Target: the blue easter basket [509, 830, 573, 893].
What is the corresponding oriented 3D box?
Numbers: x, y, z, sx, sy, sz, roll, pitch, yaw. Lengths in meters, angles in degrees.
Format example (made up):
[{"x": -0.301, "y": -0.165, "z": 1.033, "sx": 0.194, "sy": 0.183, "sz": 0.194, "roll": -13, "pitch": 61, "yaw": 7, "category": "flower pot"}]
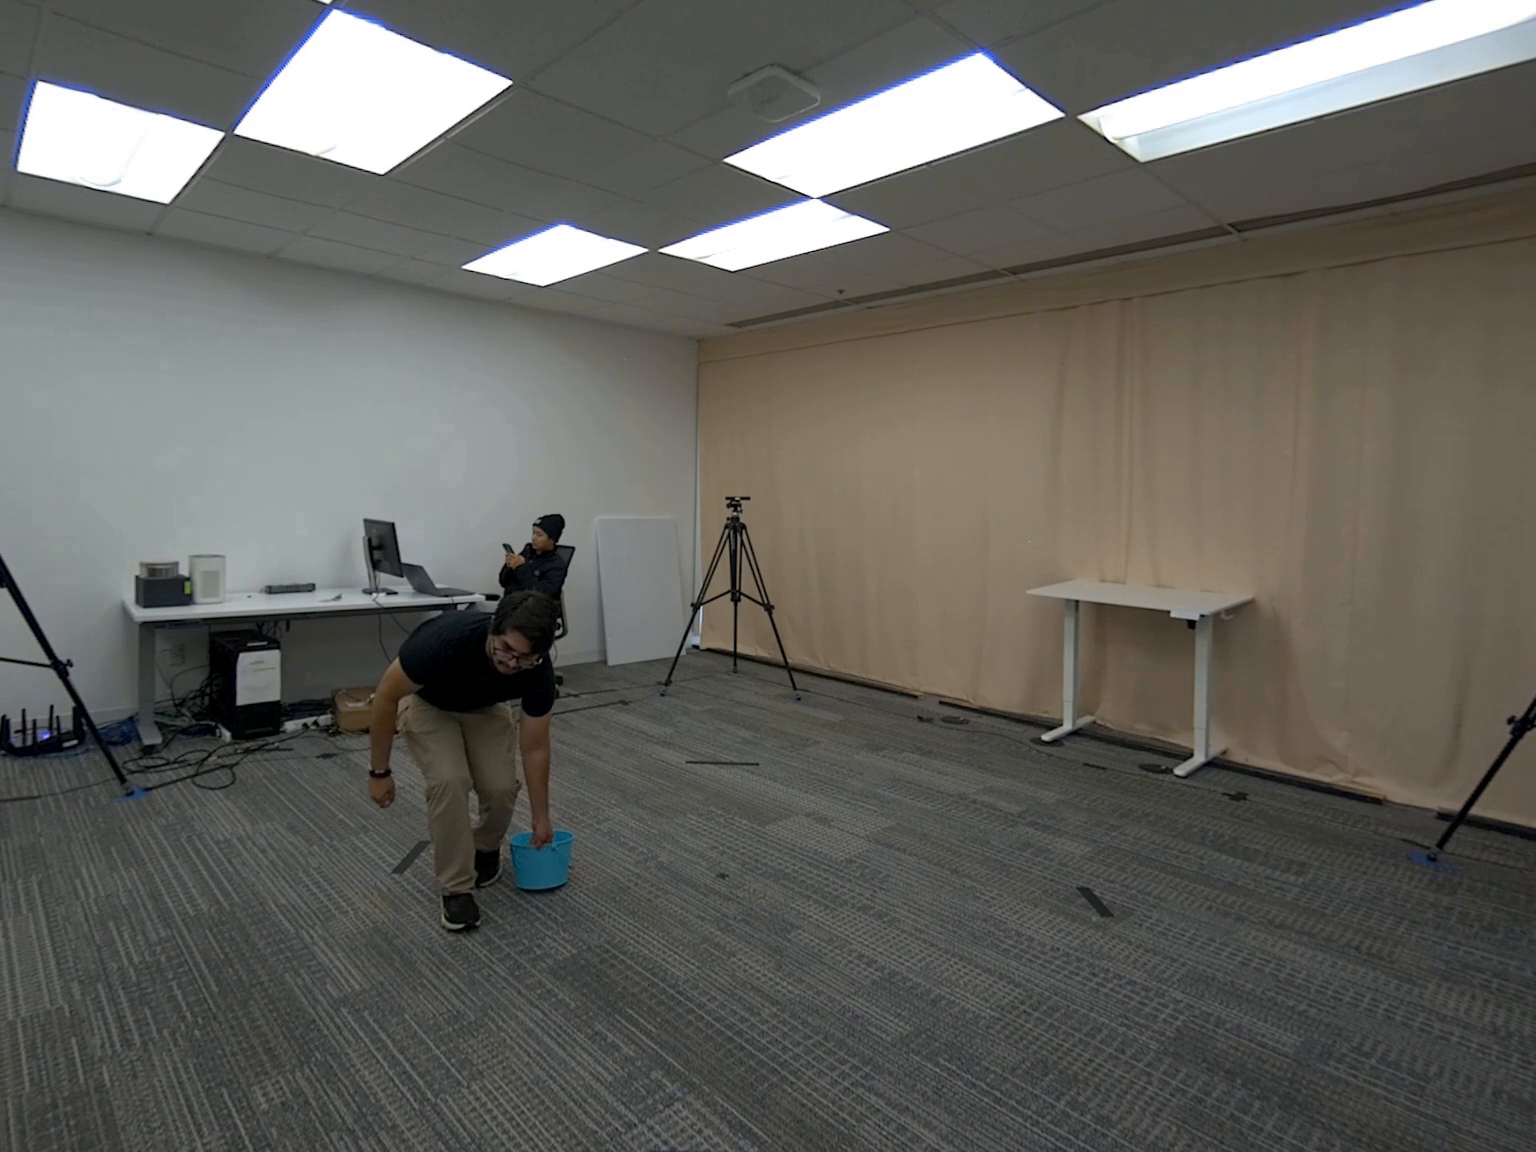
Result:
[{"x": -0.810, "y": 1.015, "z": 3.002, "sx": 0.243, "sy": 0.156, "sz": 0.243, "roll": -1, "pitch": -2, "yaw": -1, "category": "blue easter basket"}]
